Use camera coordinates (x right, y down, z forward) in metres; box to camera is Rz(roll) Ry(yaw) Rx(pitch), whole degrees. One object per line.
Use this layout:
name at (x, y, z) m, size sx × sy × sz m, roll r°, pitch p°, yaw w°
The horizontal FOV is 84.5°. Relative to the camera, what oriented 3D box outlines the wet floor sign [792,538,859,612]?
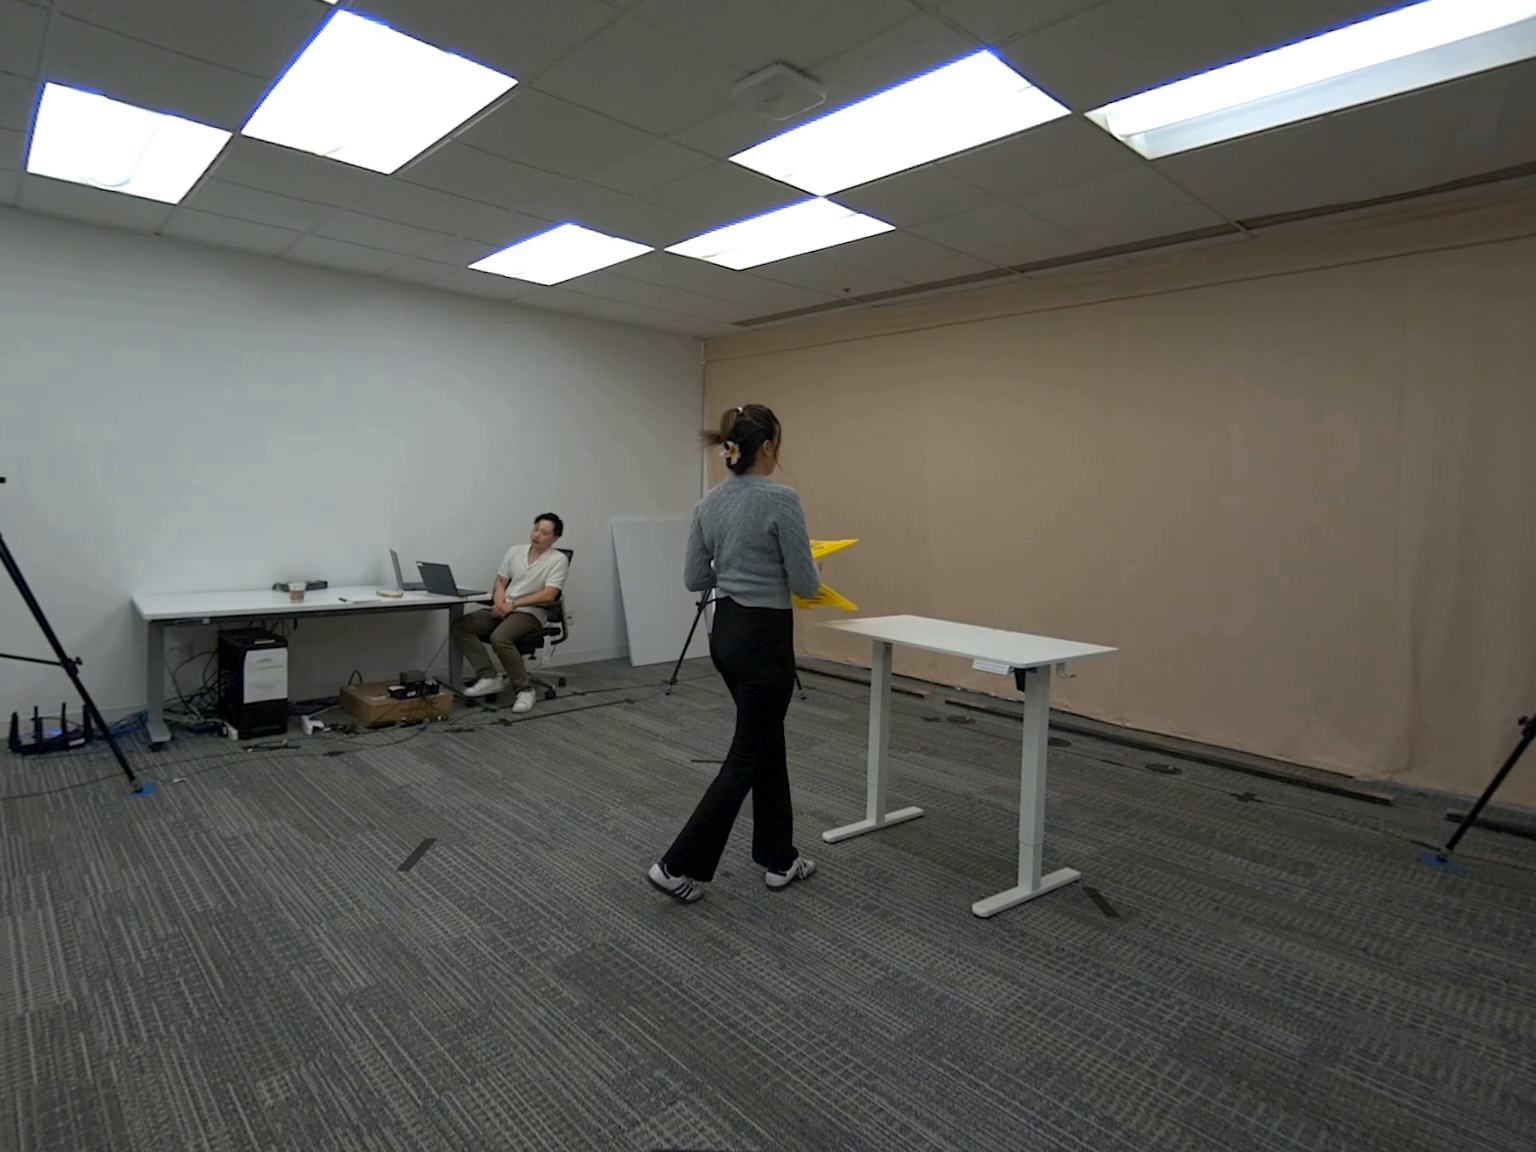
wet floor sign at (0.119, -0.022, 3.357) m, size 0.287 × 0.290 × 0.632 m, roll 0°, pitch -3°, yaw 25°
